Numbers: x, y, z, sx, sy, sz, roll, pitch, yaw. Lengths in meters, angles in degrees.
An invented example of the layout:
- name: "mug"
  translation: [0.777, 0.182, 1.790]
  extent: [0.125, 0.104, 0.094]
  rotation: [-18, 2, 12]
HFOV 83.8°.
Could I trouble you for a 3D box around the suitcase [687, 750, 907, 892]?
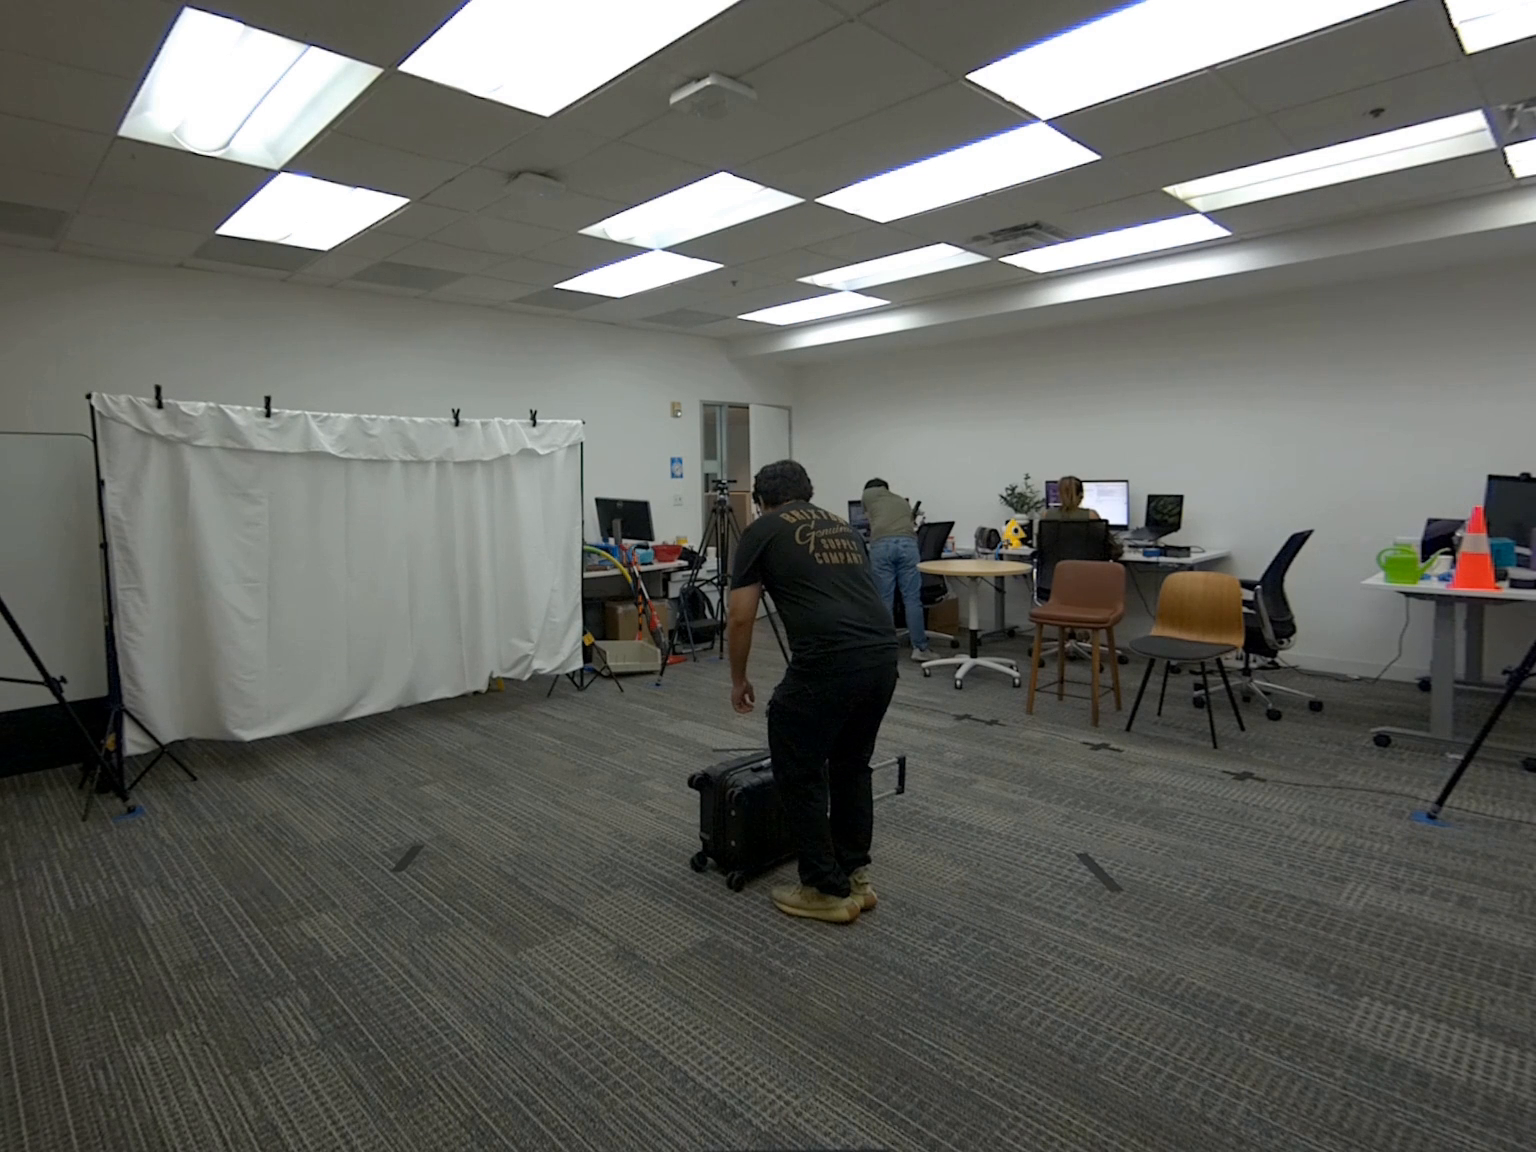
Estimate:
- name: "suitcase"
  translation: [0.137, 0.837, 3.298]
  extent: [0.952, 0.383, 0.265]
  rotation: [-6, 5, -44]
